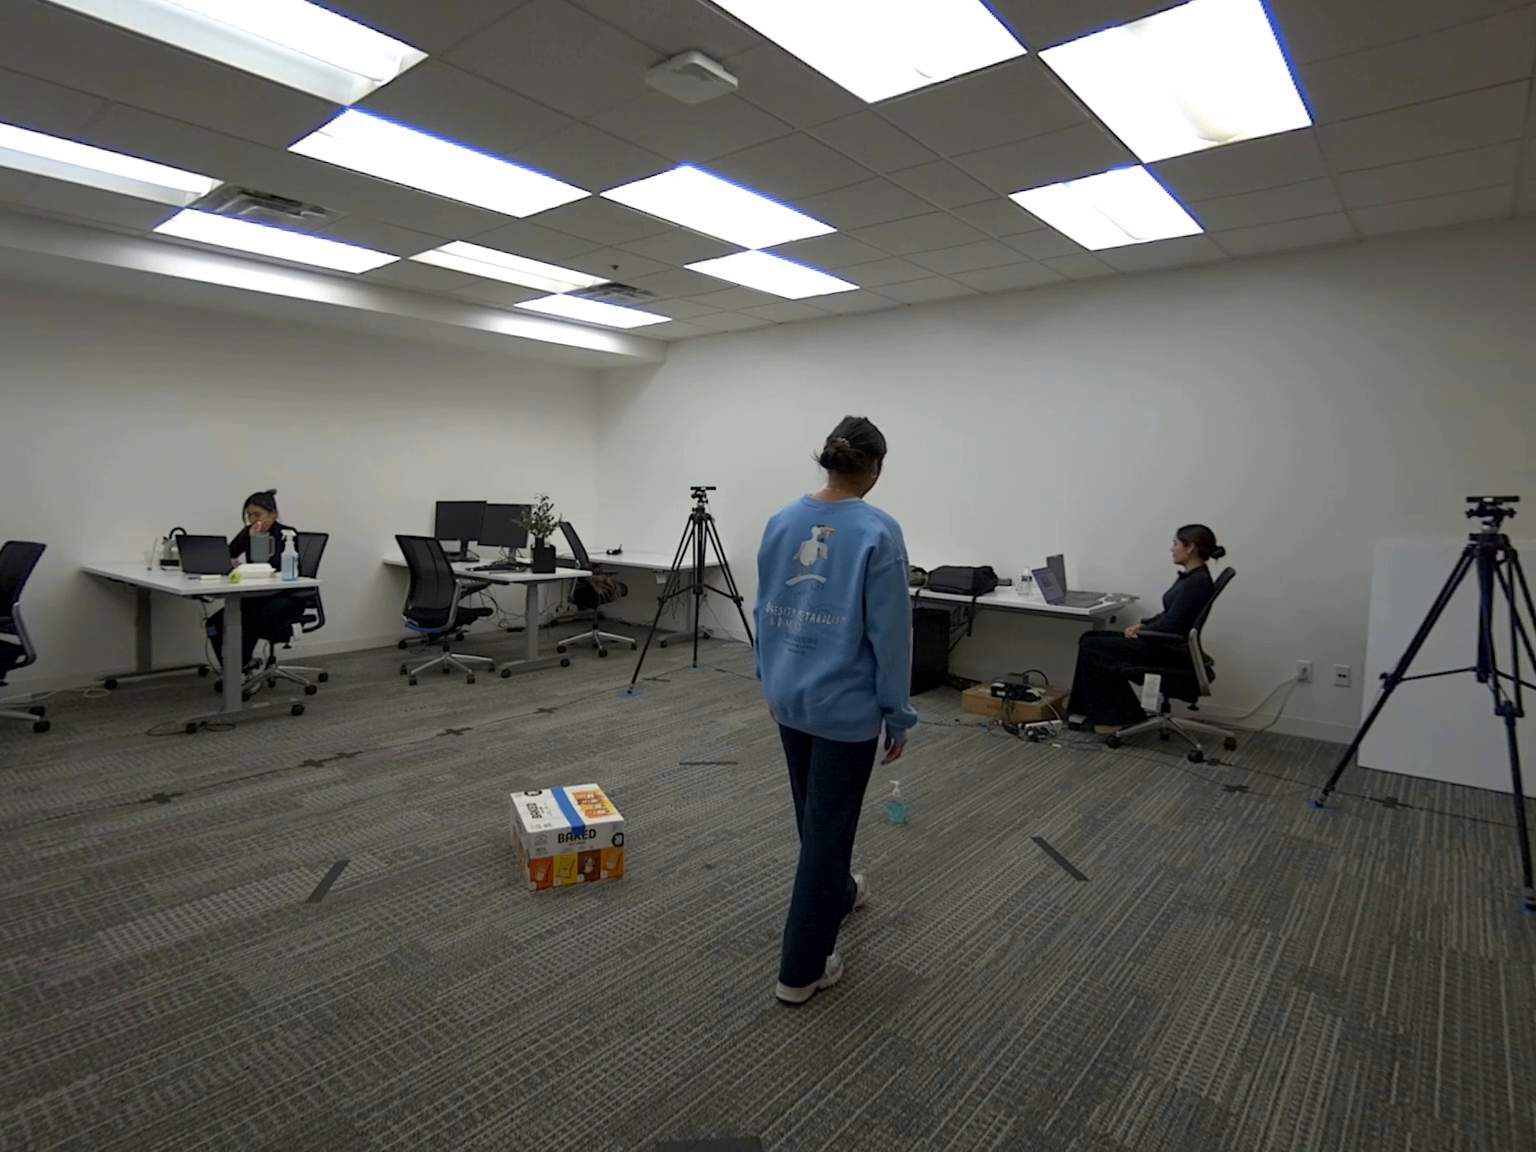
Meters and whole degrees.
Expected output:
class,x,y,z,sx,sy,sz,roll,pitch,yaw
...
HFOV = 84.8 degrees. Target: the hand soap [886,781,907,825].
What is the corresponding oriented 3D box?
class,x,y,z,sx,sy,sz,roll,pitch,yaw
hand soap,0.535,0.948,3.594,0.087,0.167,0.042,4,4,32
